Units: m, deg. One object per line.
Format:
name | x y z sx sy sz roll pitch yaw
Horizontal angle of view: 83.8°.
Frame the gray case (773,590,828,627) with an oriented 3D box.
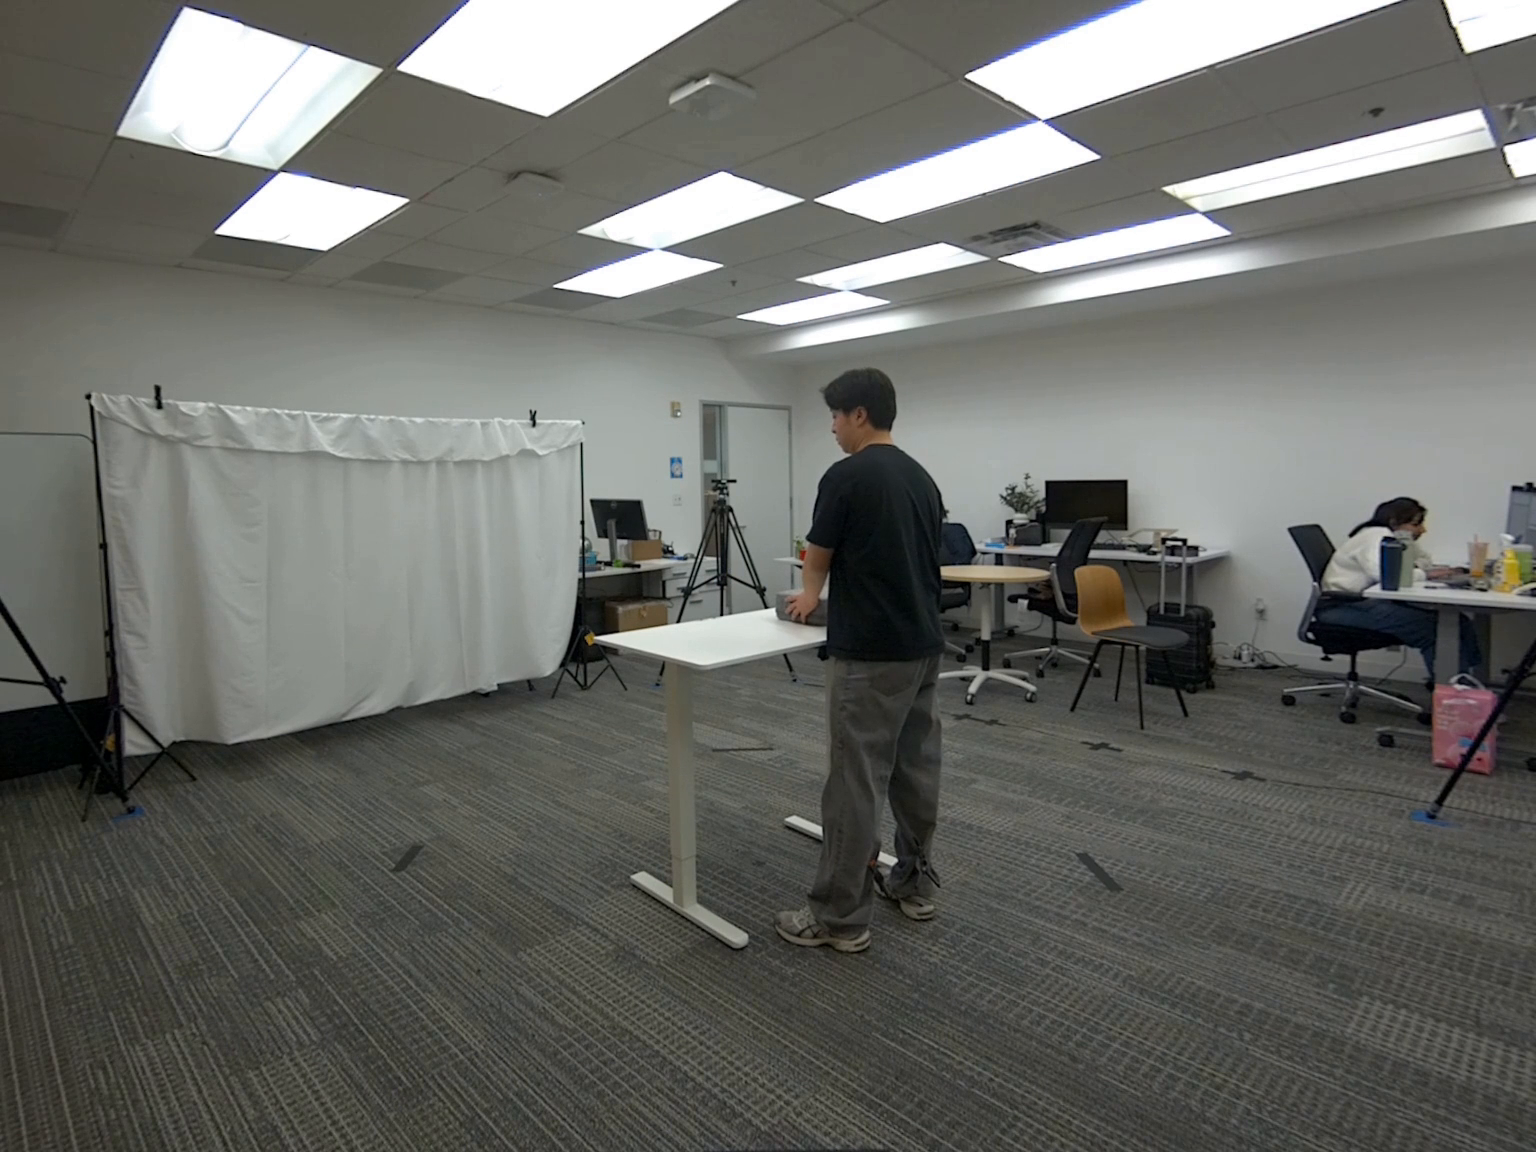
gray case | 0.184 0.104 3.109 0.280 0.102 0.271 -7 8 -42
